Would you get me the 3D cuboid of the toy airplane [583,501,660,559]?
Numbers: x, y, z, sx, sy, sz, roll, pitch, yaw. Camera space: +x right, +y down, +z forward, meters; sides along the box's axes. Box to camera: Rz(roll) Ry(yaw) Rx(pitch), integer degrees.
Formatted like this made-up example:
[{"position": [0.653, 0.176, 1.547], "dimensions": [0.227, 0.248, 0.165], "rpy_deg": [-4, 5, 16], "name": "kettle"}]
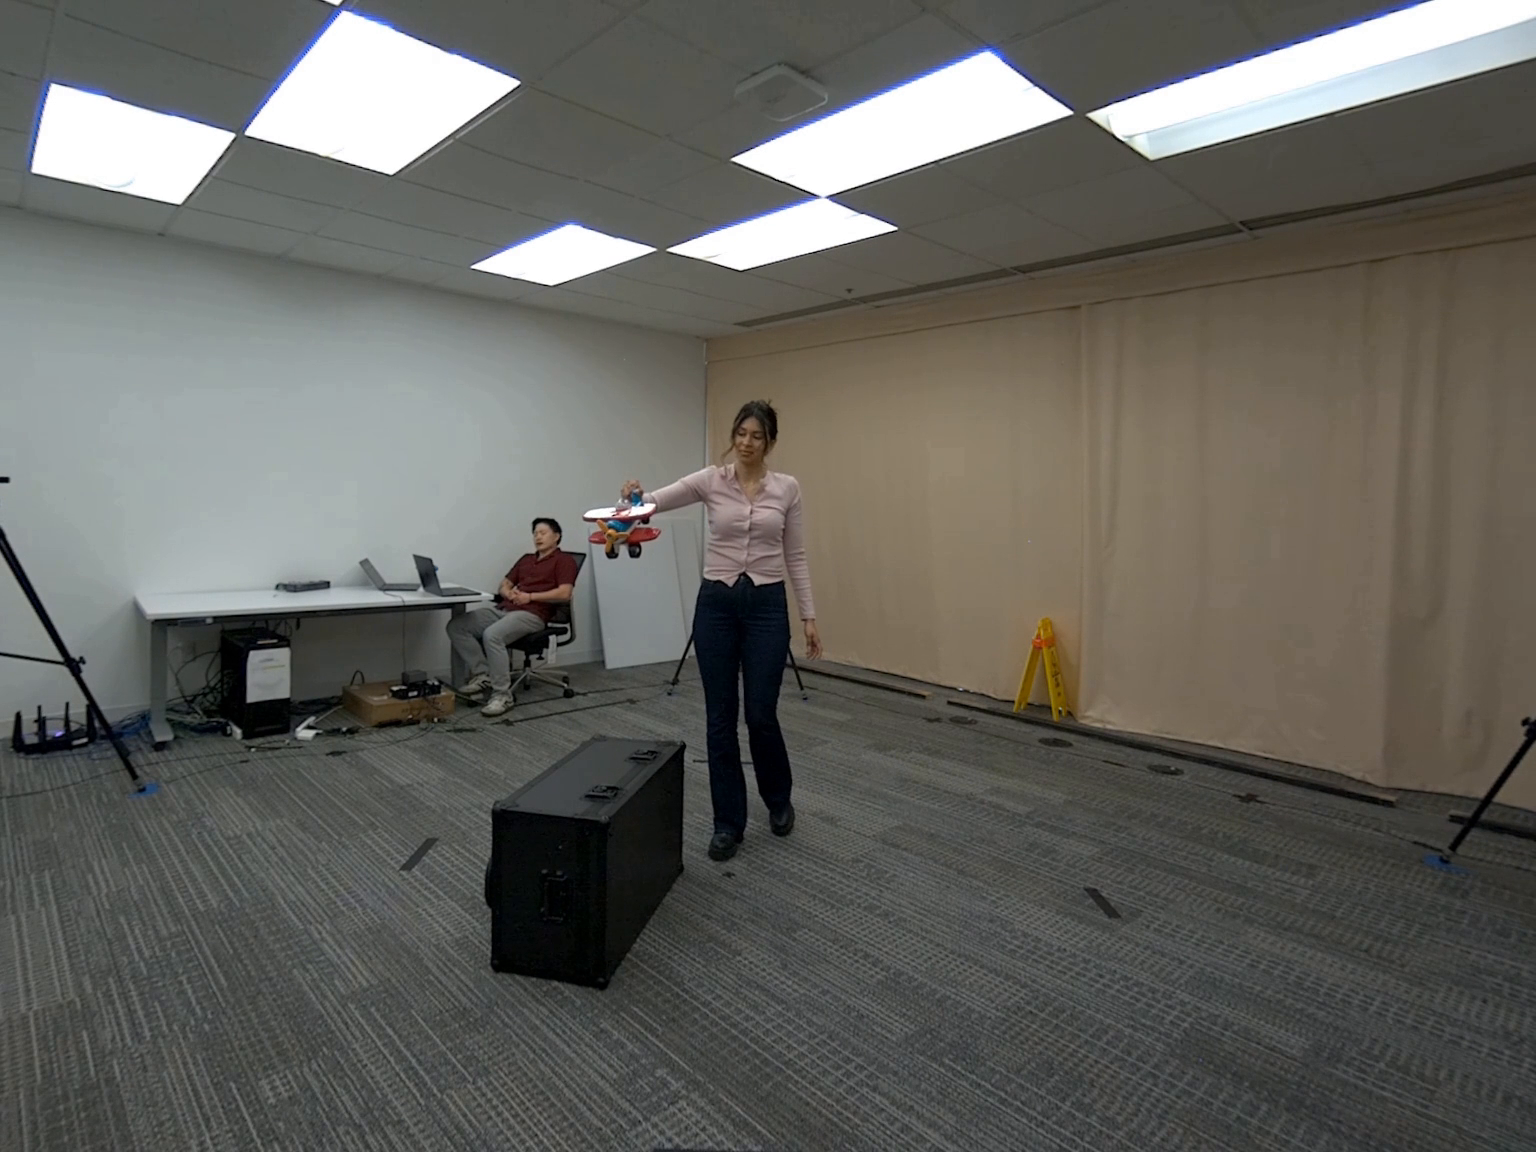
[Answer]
[{"position": [-0.496, -0.175, 2.824], "dimensions": [0.250, 0.152, 0.267], "rpy_deg": [-20, 38, -4], "name": "toy airplane"}]
